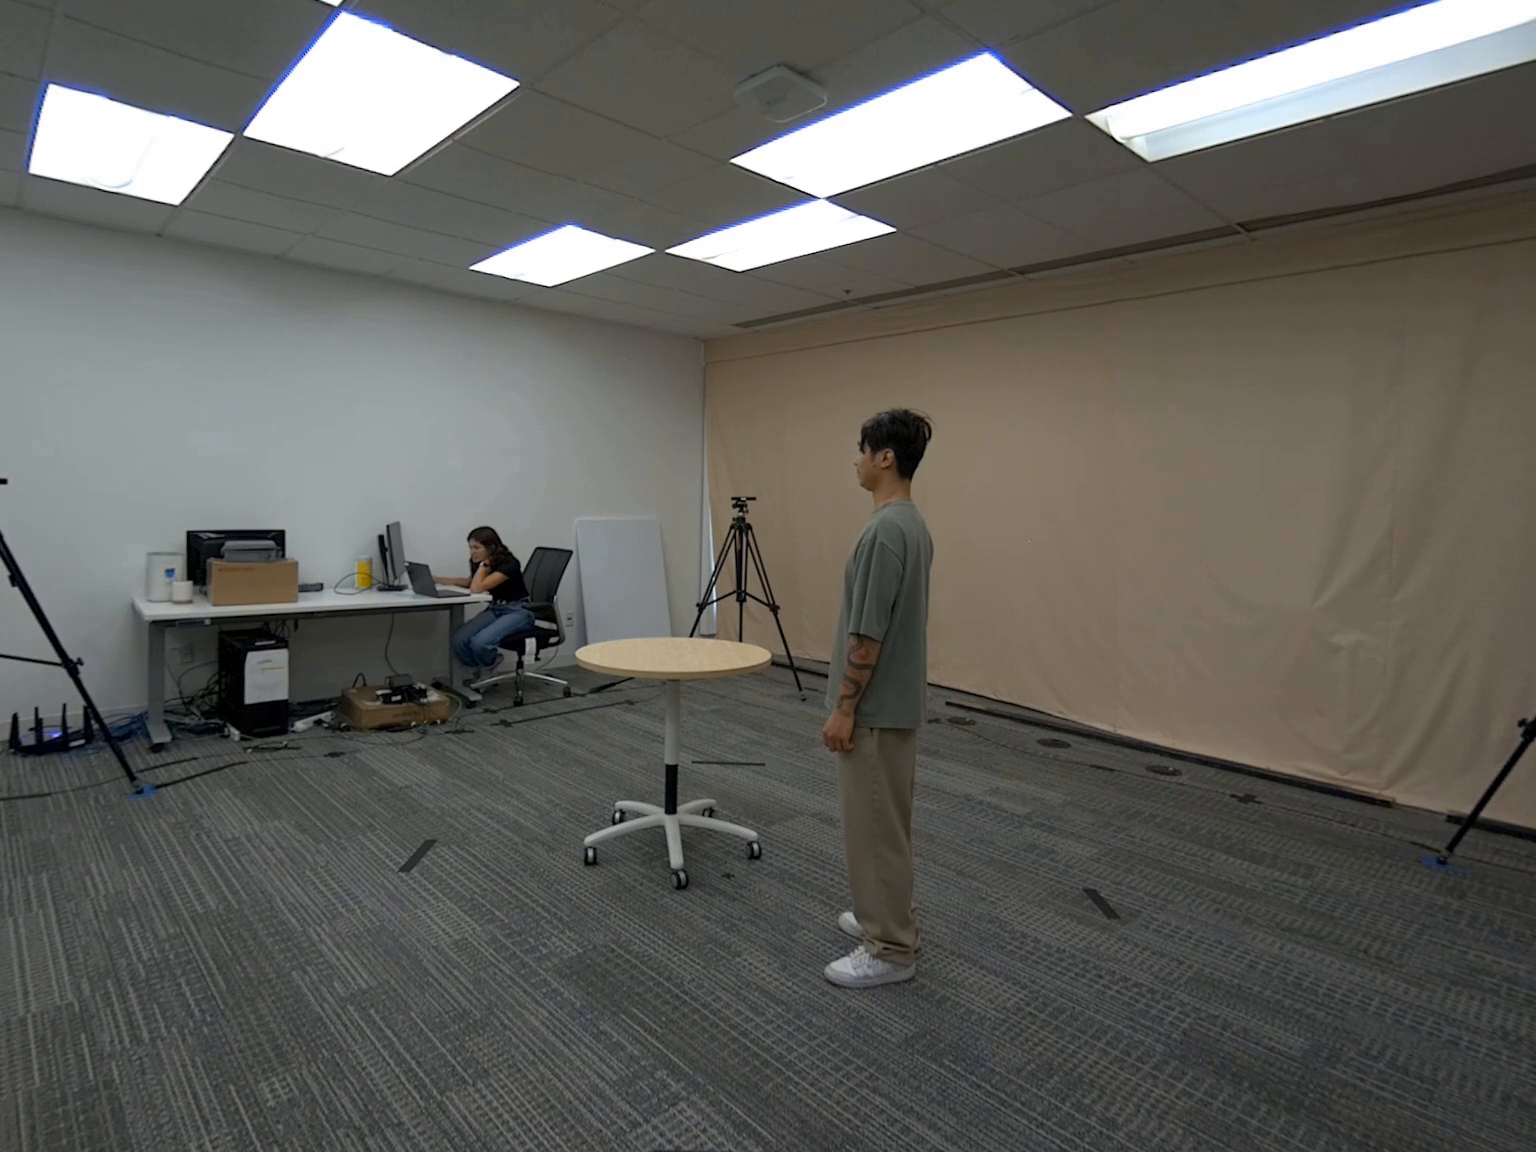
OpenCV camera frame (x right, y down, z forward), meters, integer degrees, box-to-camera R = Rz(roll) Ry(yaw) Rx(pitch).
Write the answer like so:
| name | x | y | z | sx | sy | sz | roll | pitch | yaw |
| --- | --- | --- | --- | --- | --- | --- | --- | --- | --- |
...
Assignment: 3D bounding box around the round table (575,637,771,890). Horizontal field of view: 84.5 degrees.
| name | x | y | z | sx | sy | sz | roll | pitch | yaw |
| --- | --- | --- | --- | --- | --- | --- | --- | --- | --- |
| round table | -0.377 | 0.689 | 3.332 | 0.784 | 0.784 | 0.787 | 1 | 4 | -1 |
